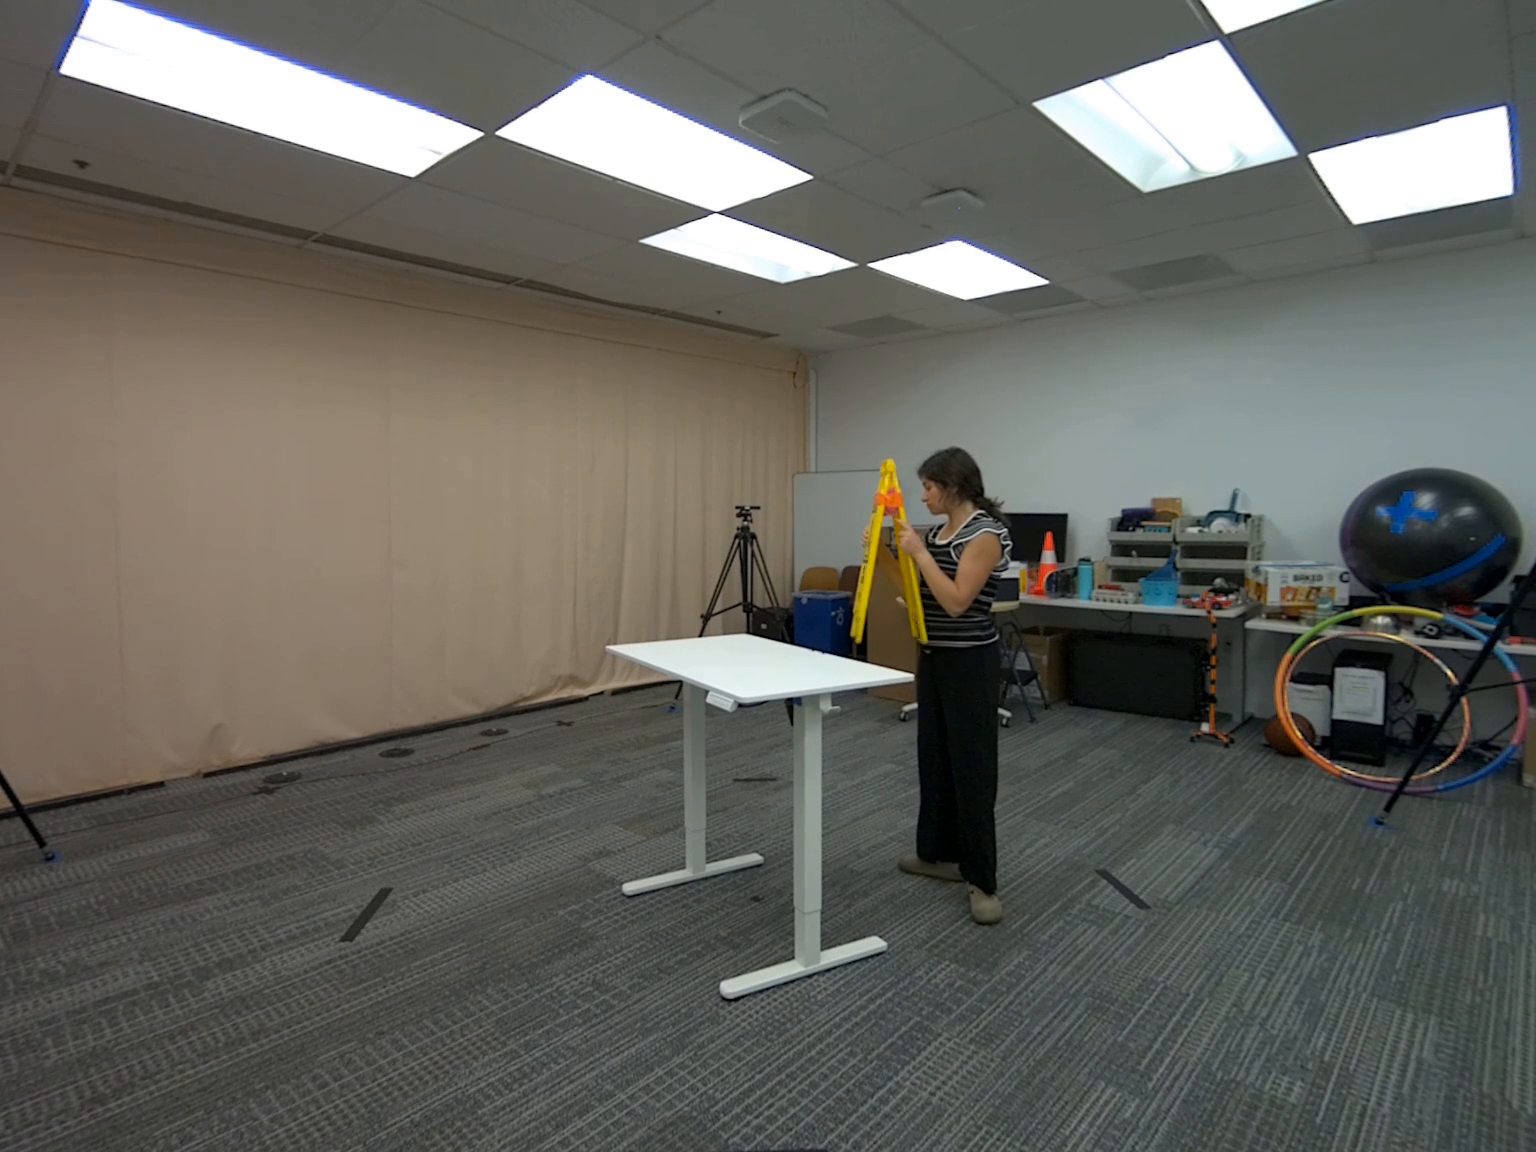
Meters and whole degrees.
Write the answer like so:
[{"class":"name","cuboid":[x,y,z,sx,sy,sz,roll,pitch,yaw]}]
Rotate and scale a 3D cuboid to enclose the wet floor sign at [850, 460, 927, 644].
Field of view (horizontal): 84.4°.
[{"class":"wet floor sign","cuboid":[0.458,-0.091,3.068,0.291,0.645,0.281,0,1,3]}]
